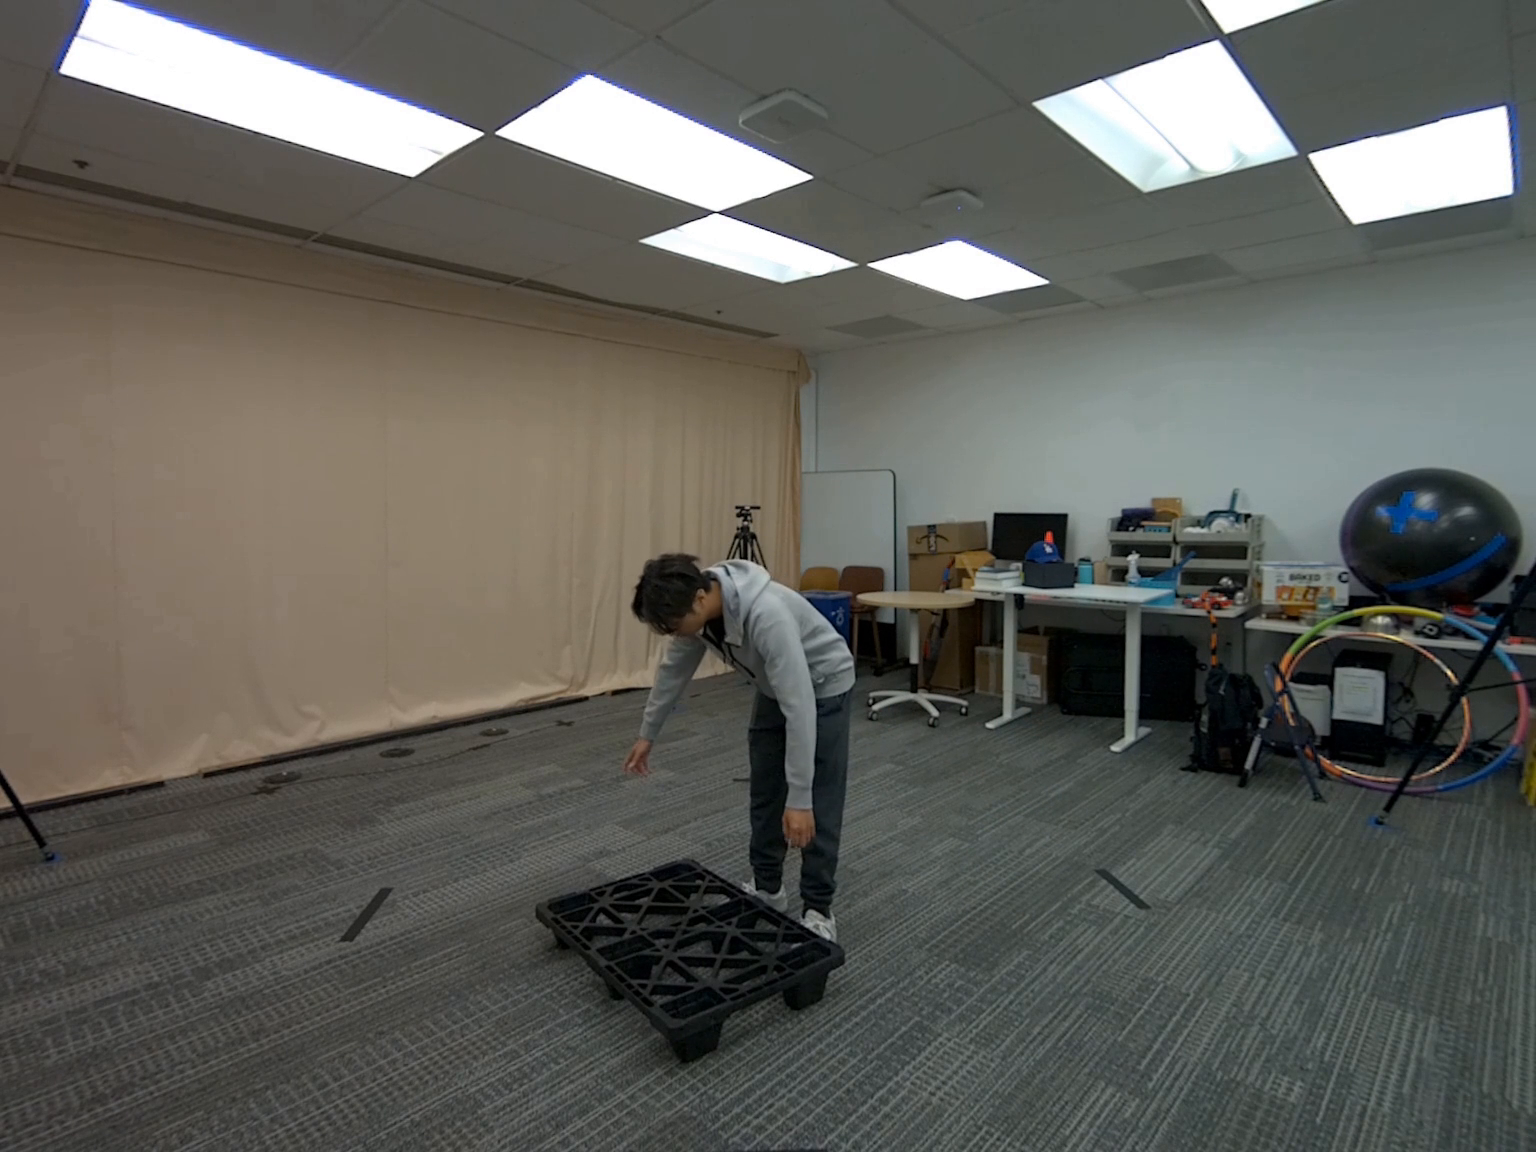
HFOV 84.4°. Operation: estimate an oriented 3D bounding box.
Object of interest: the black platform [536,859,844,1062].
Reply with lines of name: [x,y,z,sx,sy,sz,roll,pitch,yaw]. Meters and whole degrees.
black platform: [-0.262,1.120,2.526,0.587,0.143,0.832,-3,6,-38]
